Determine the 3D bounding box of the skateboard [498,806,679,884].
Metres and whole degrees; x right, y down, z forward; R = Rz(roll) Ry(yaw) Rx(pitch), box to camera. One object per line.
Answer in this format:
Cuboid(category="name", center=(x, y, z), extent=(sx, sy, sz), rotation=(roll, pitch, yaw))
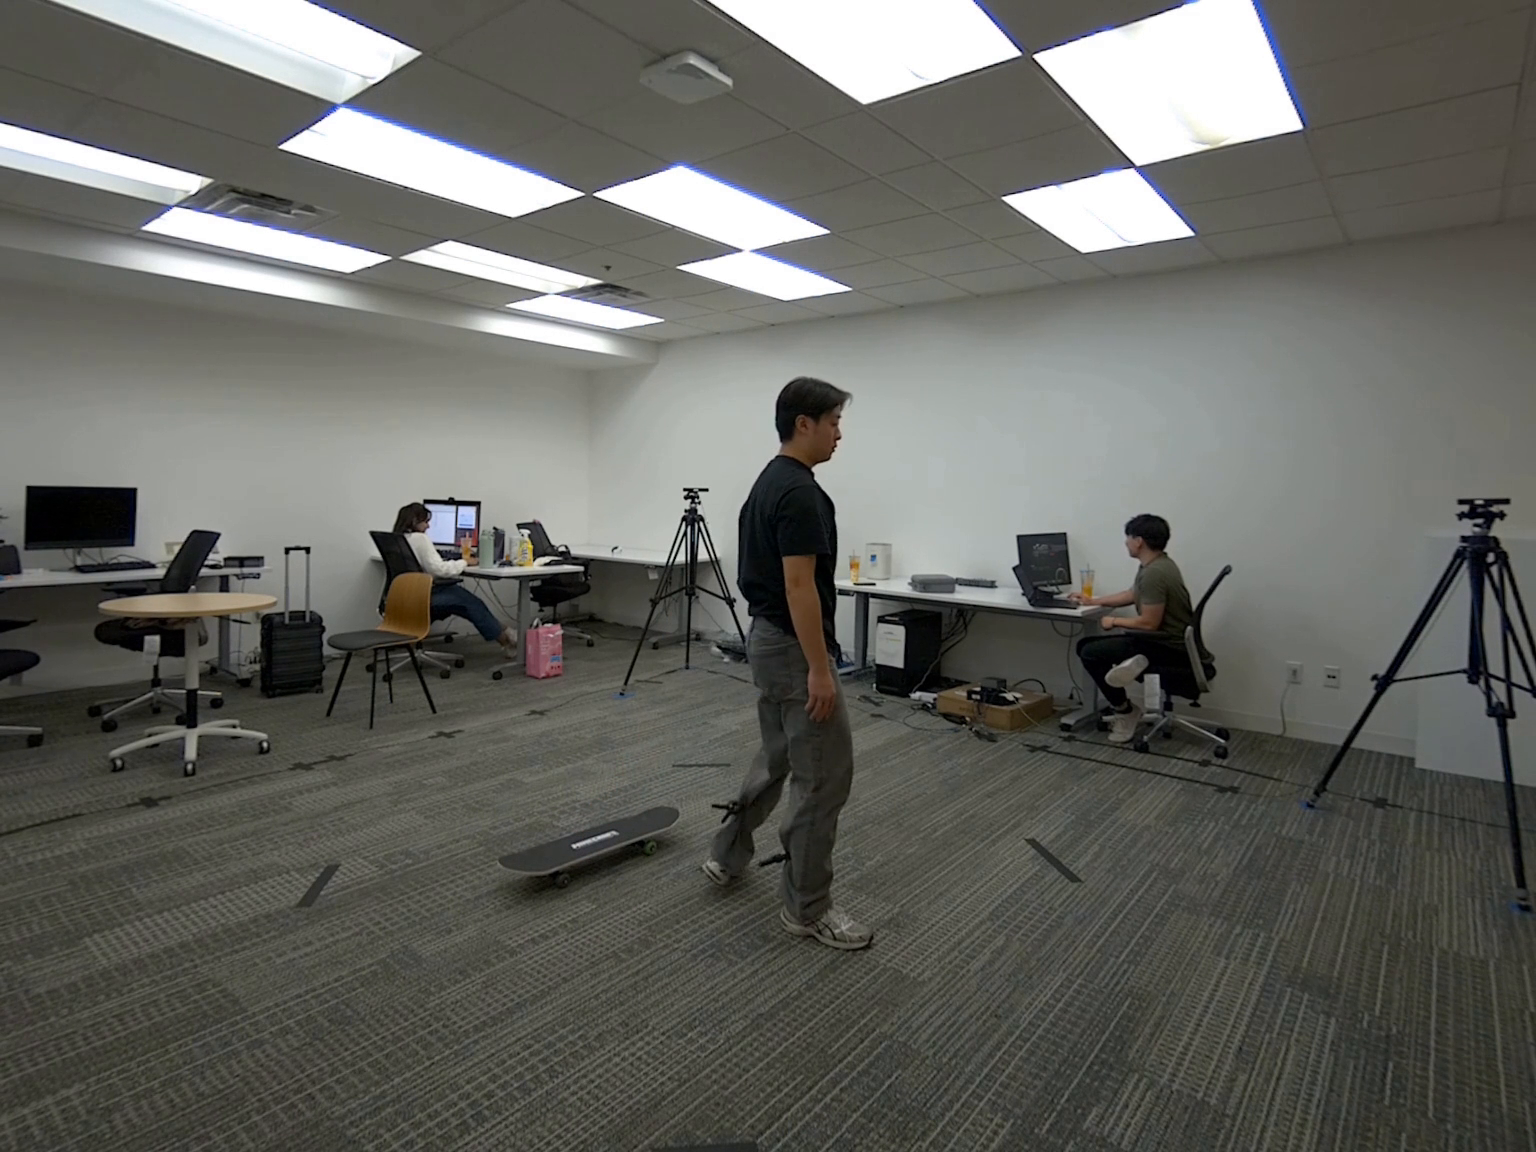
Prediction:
Cuboid(category="skateboard", center=(-0.645, 1.003, 3.141), extent=(0.200, 0.110, 0.762), rotation=(6, 7, 43))
